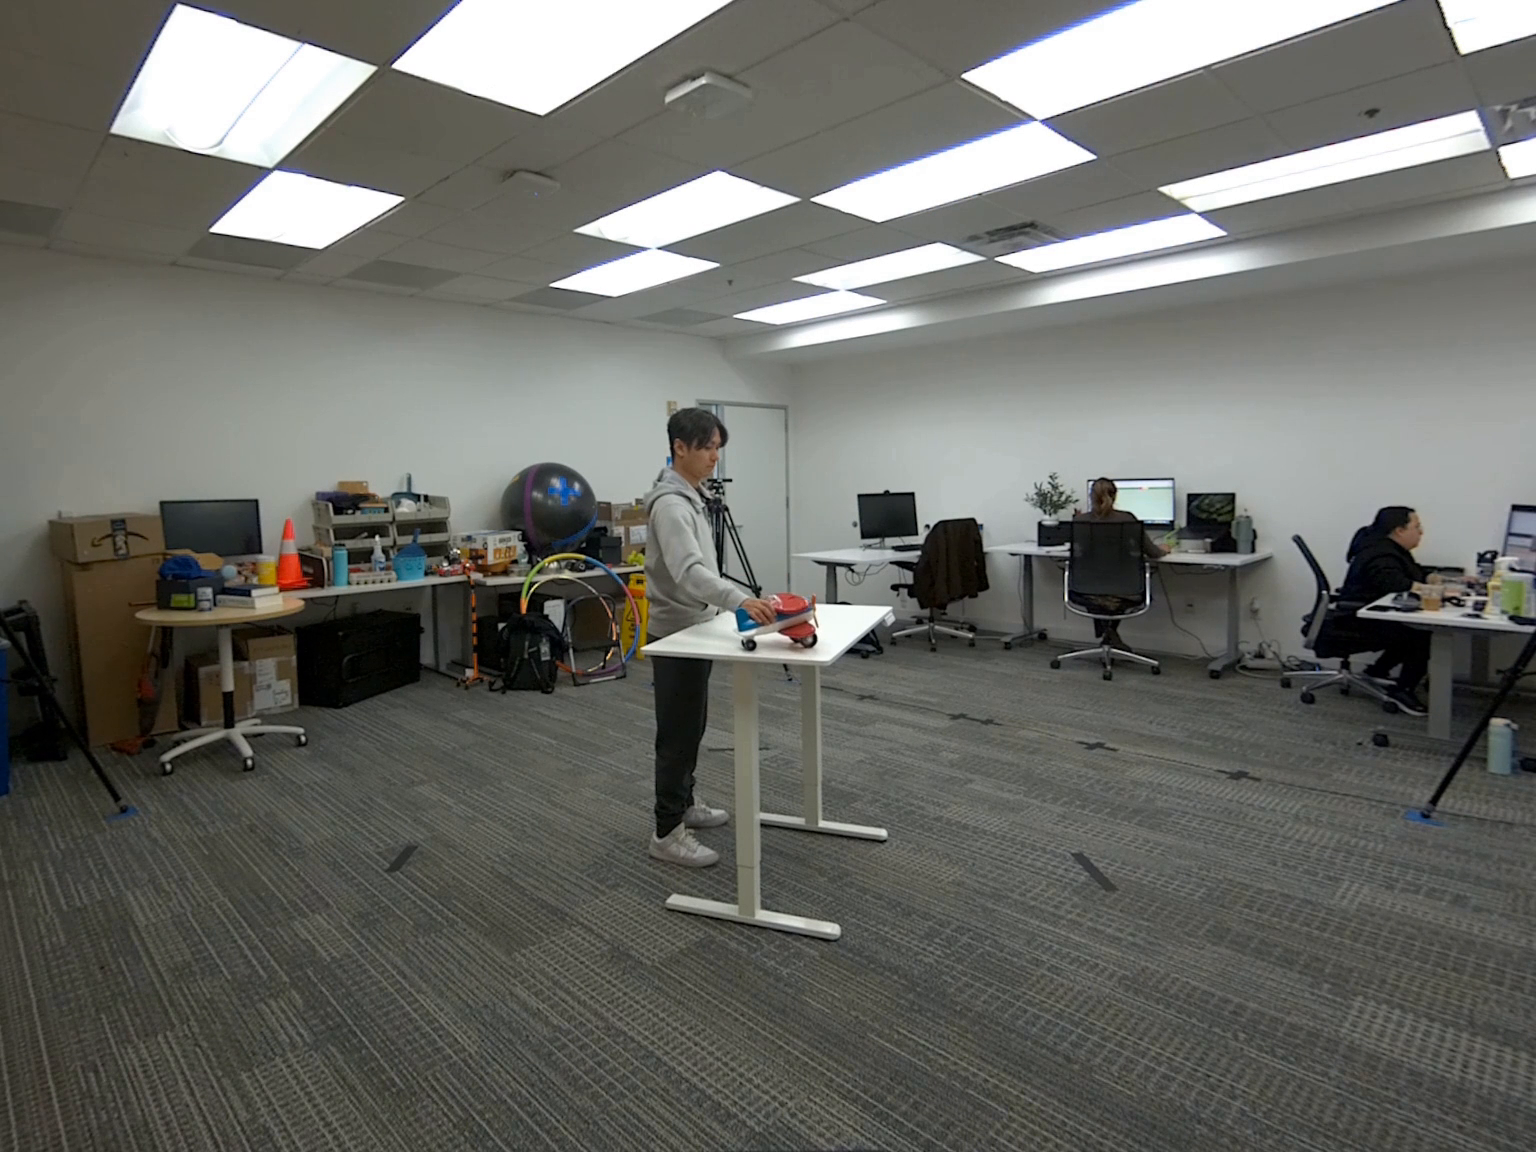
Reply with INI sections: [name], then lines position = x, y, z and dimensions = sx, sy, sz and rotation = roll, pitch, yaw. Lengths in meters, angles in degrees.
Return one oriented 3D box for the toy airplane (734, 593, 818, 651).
[toy airplane]
position = 0.040, 0.145, 2.600
dimensions = 0.259, 0.156, 0.252
rotation = 4, 7, 44
